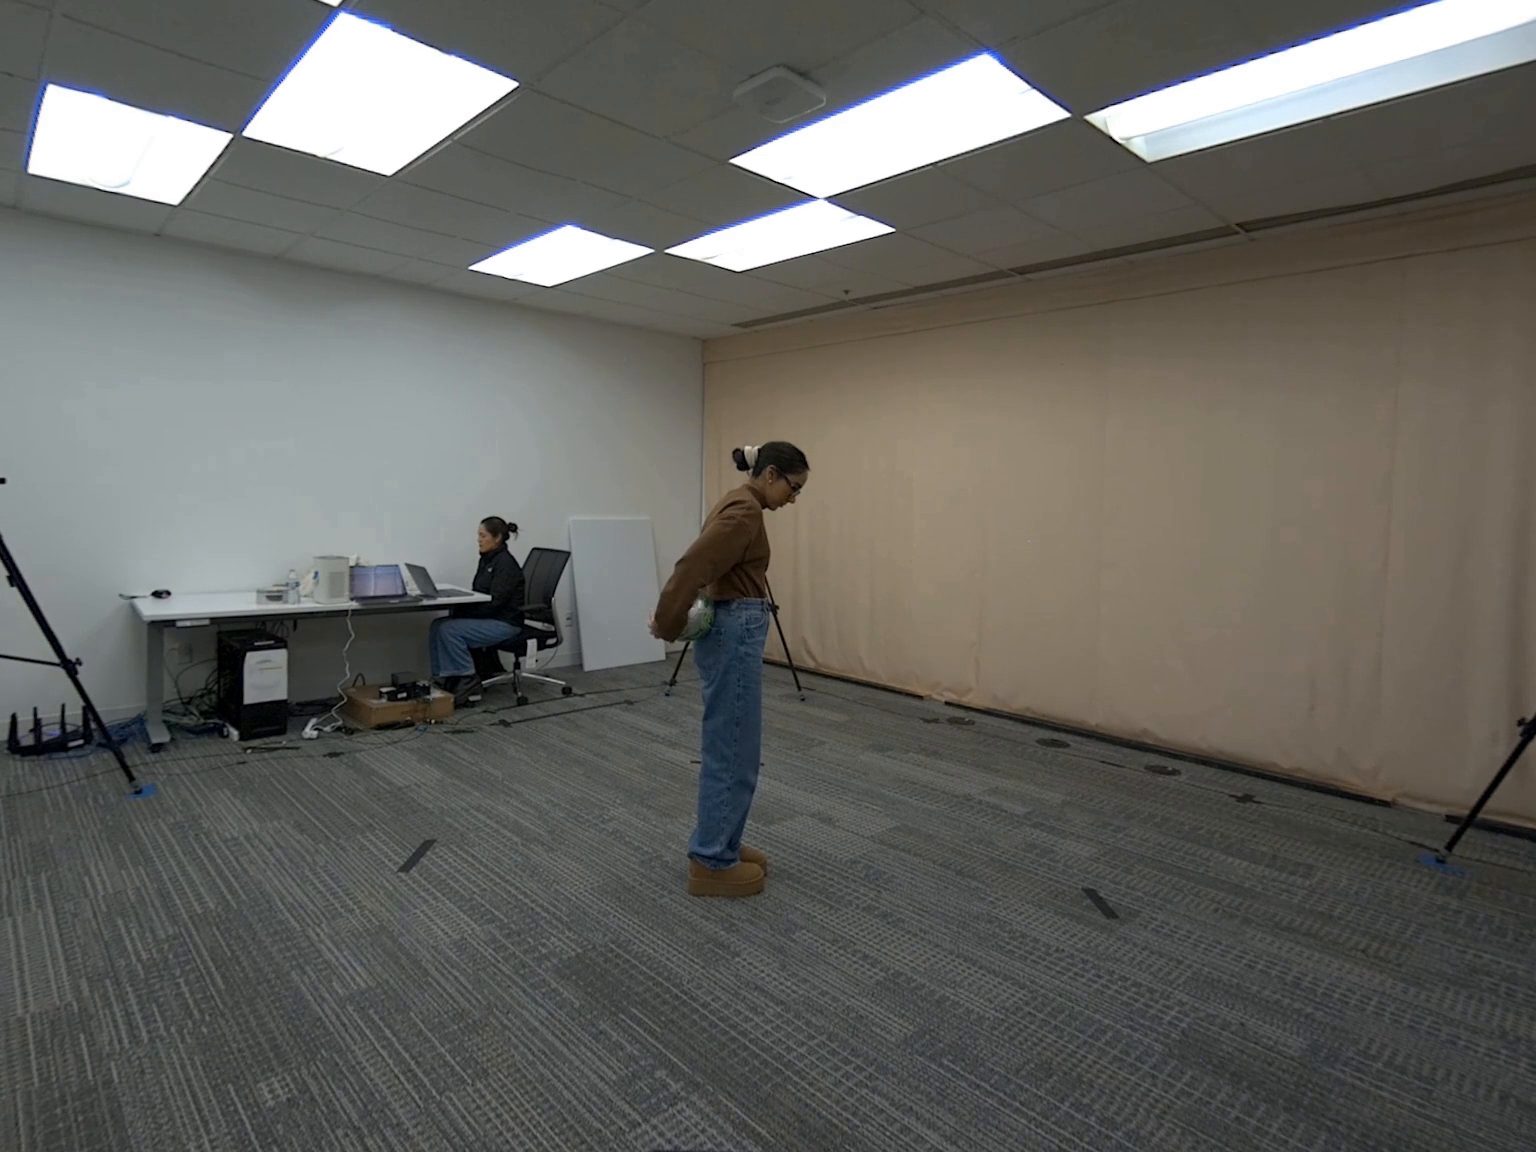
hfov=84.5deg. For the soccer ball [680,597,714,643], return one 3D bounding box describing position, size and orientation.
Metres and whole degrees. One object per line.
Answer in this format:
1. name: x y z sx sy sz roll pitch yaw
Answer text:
1. soccer ball: -0.299 0.137 2.873 0.187 0.187 0.188 1 4 -1
